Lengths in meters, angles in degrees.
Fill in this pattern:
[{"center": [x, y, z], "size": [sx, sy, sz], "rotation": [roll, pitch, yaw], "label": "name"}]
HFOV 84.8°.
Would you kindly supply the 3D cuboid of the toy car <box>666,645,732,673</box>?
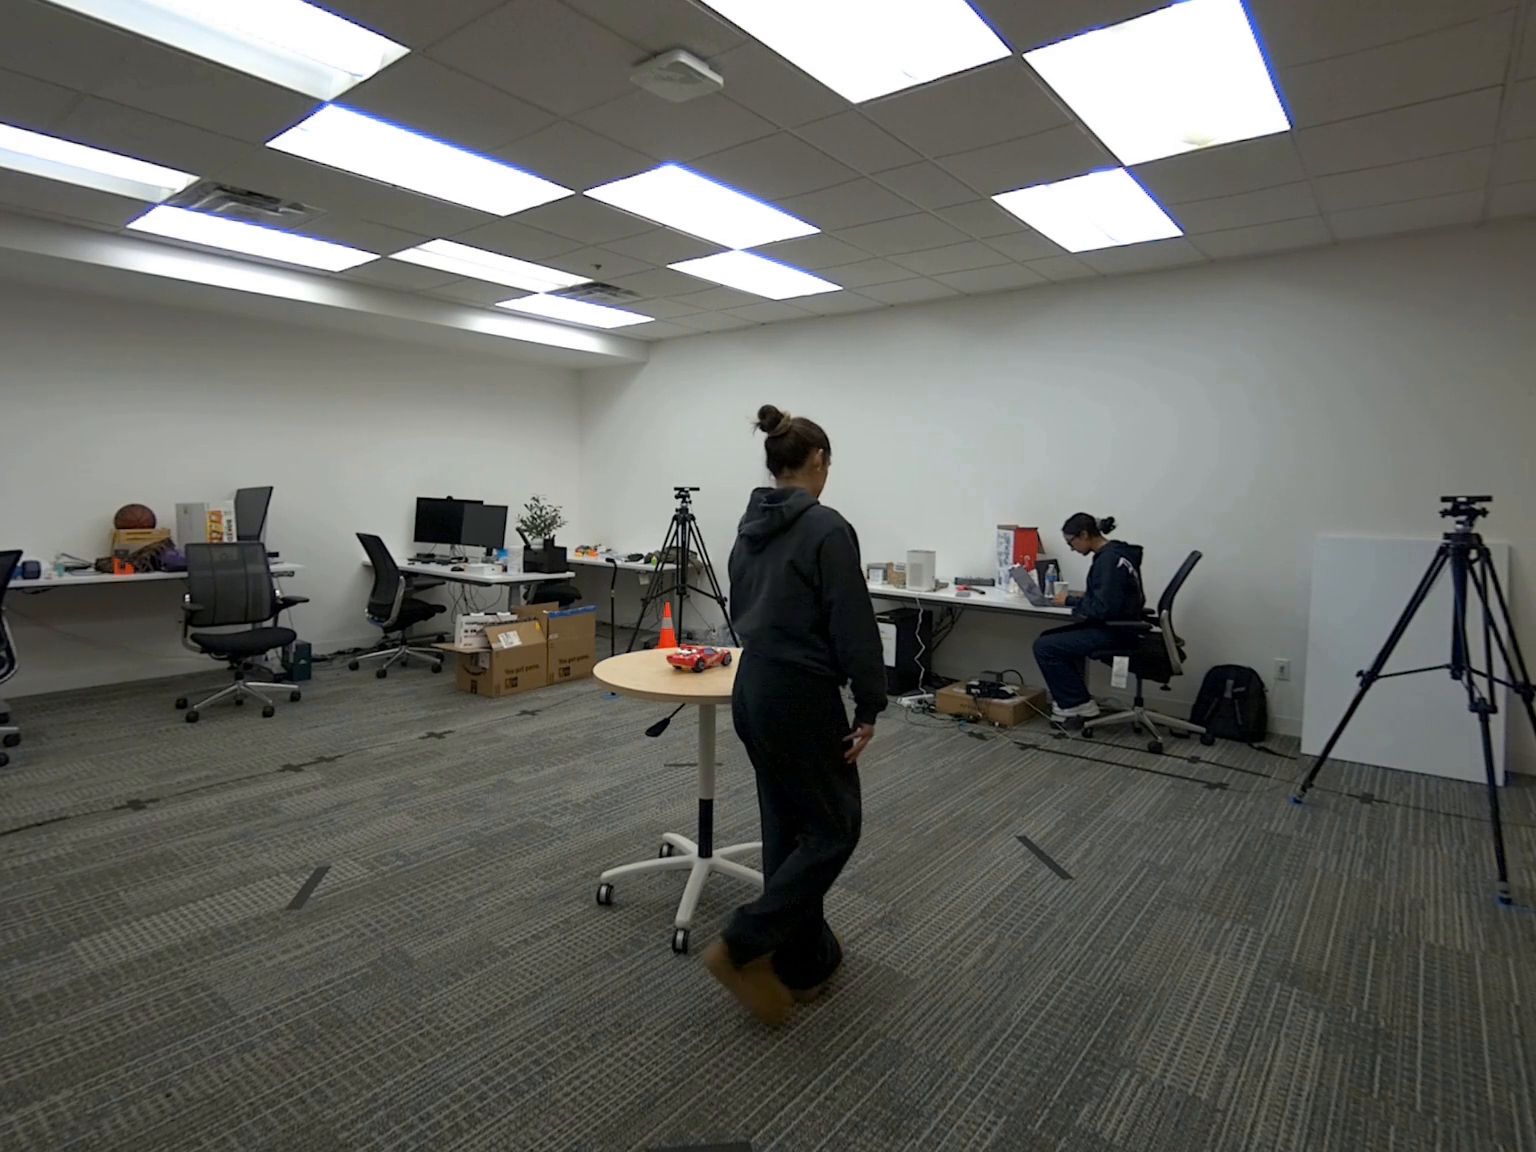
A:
[{"center": [-0.242, 0.277, 2.862], "size": [0.134, 0.083, 0.245], "rotation": [4, -4, 37], "label": "toy car"}]
